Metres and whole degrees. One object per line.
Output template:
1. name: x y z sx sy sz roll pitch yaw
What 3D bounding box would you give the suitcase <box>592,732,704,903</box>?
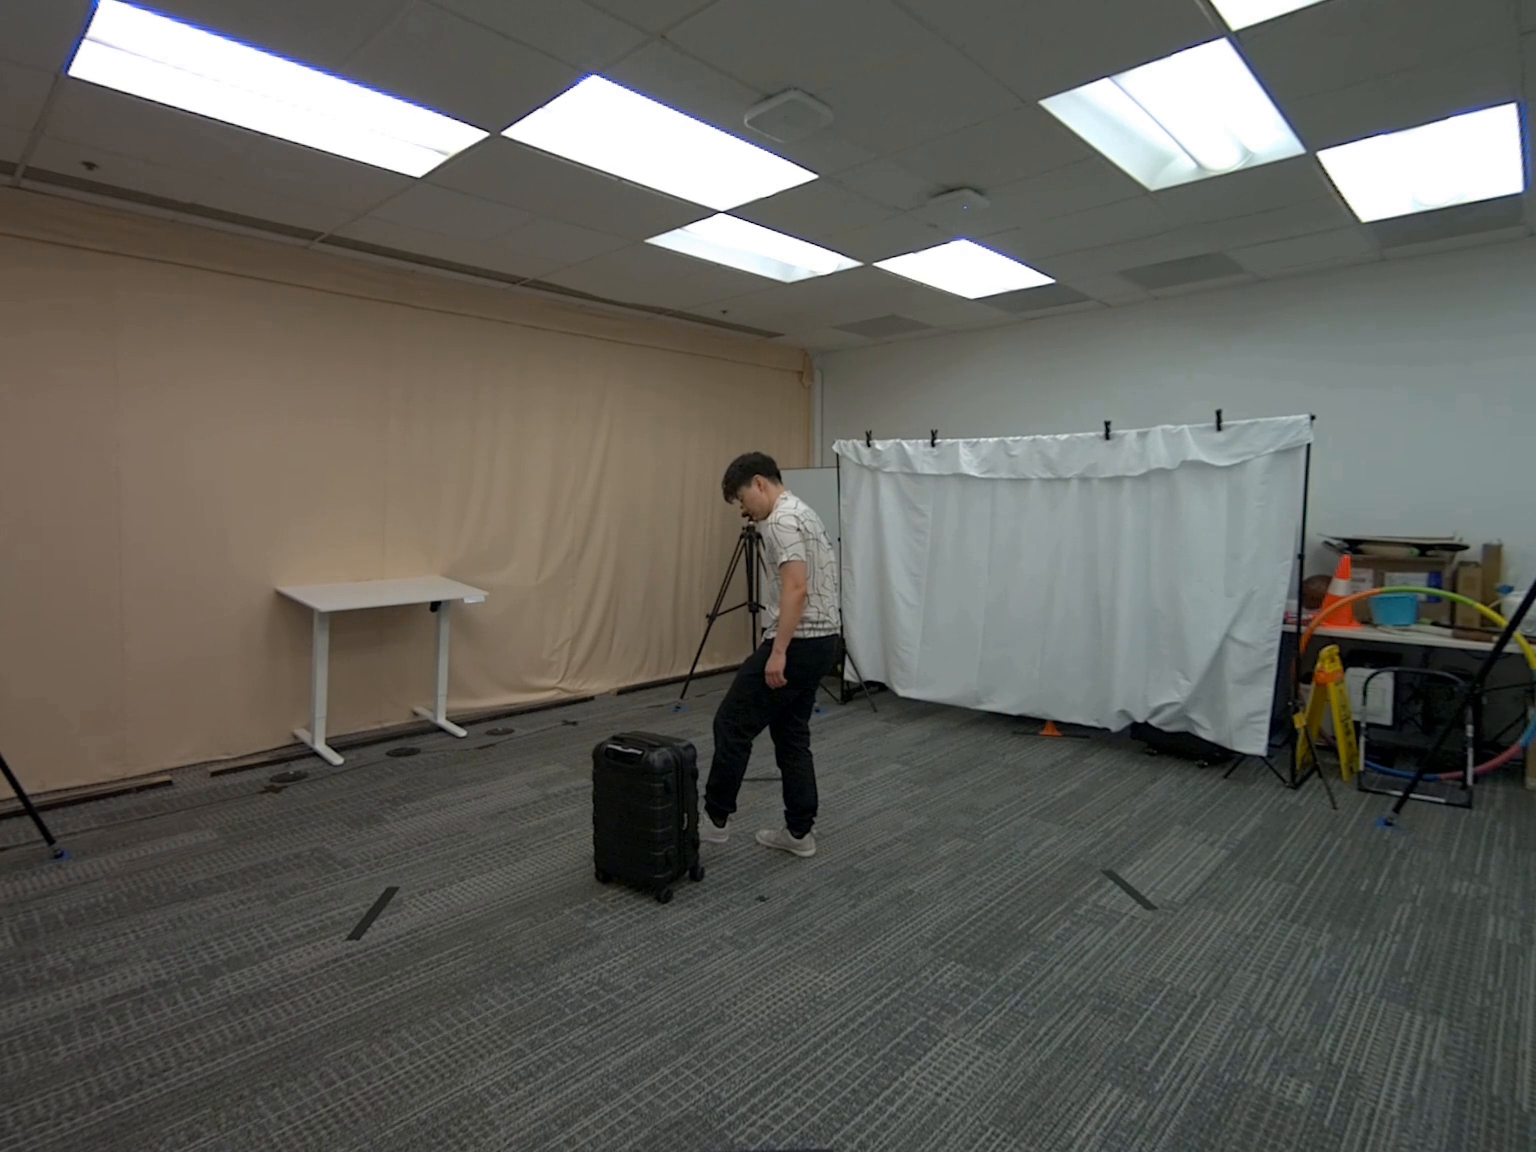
1. suitcase: -0.454 0.858 3.106 0.387 0.548 0.241 1 4 33
